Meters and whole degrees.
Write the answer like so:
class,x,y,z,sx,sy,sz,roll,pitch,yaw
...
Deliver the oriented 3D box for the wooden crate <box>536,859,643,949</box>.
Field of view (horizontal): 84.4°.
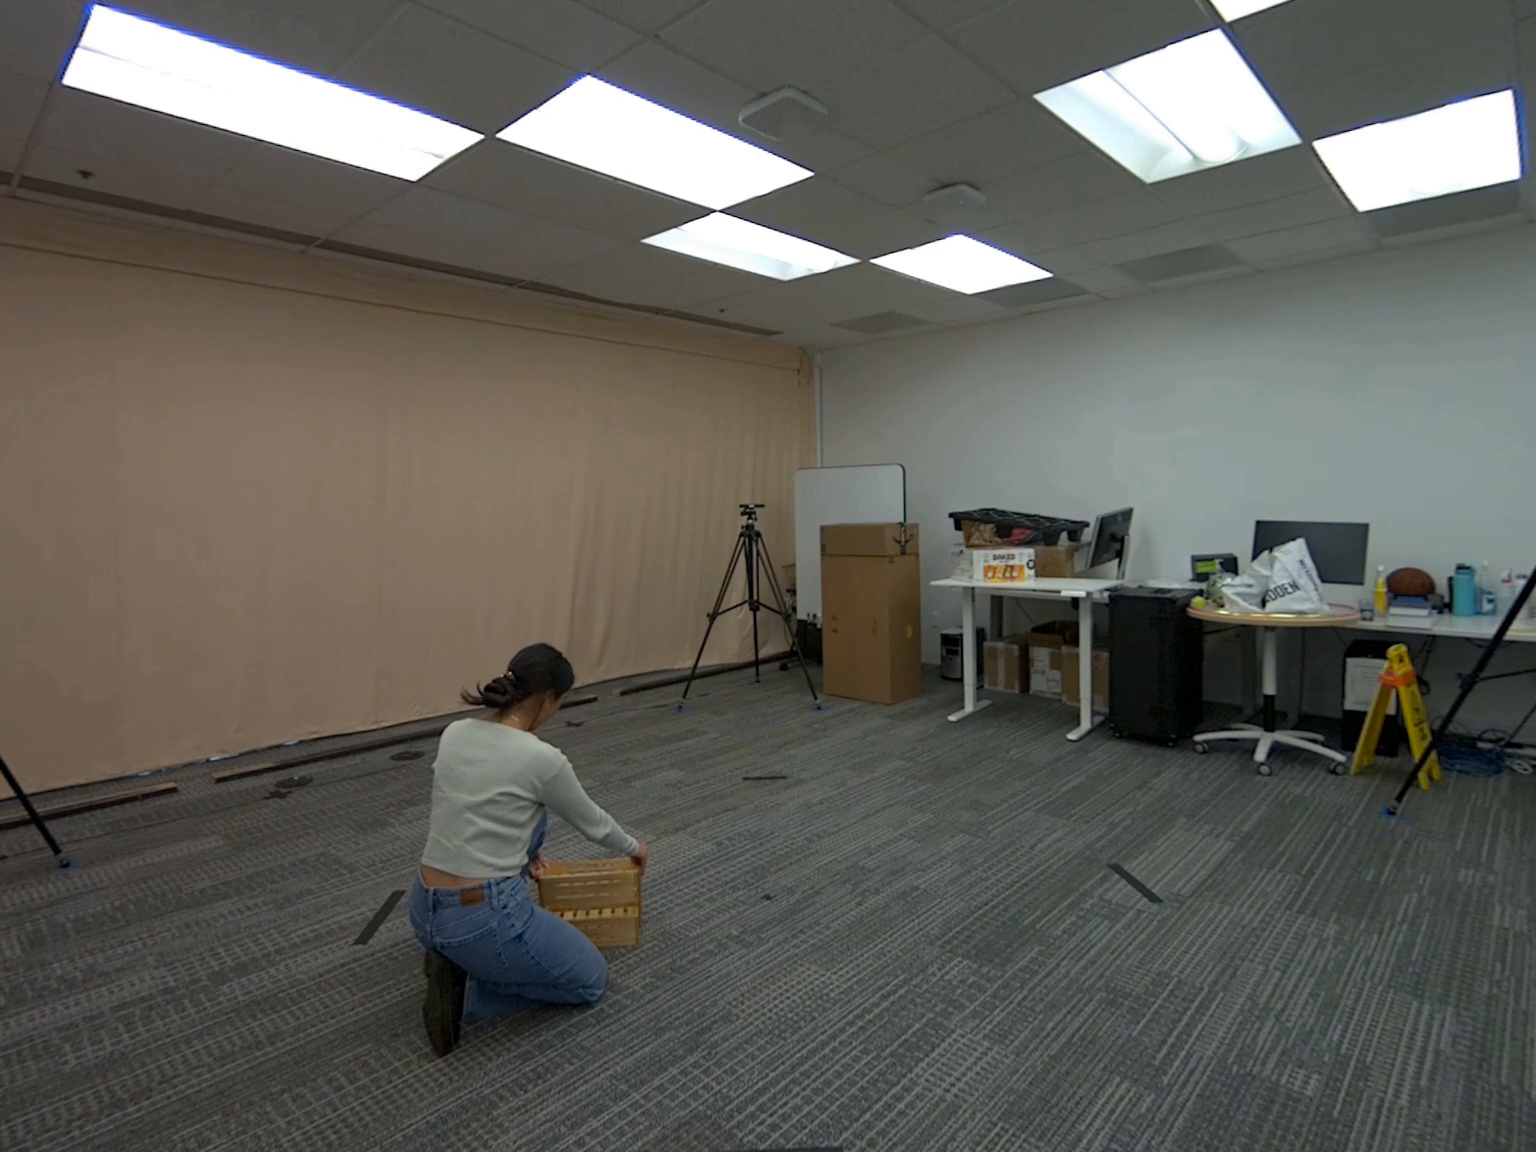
class,x,y,z,sx,sy,sz,roll,pitch,yaw
wooden crate,-0.583,1.041,2.758,0.322,0.273,0.305,-2,3,-7
